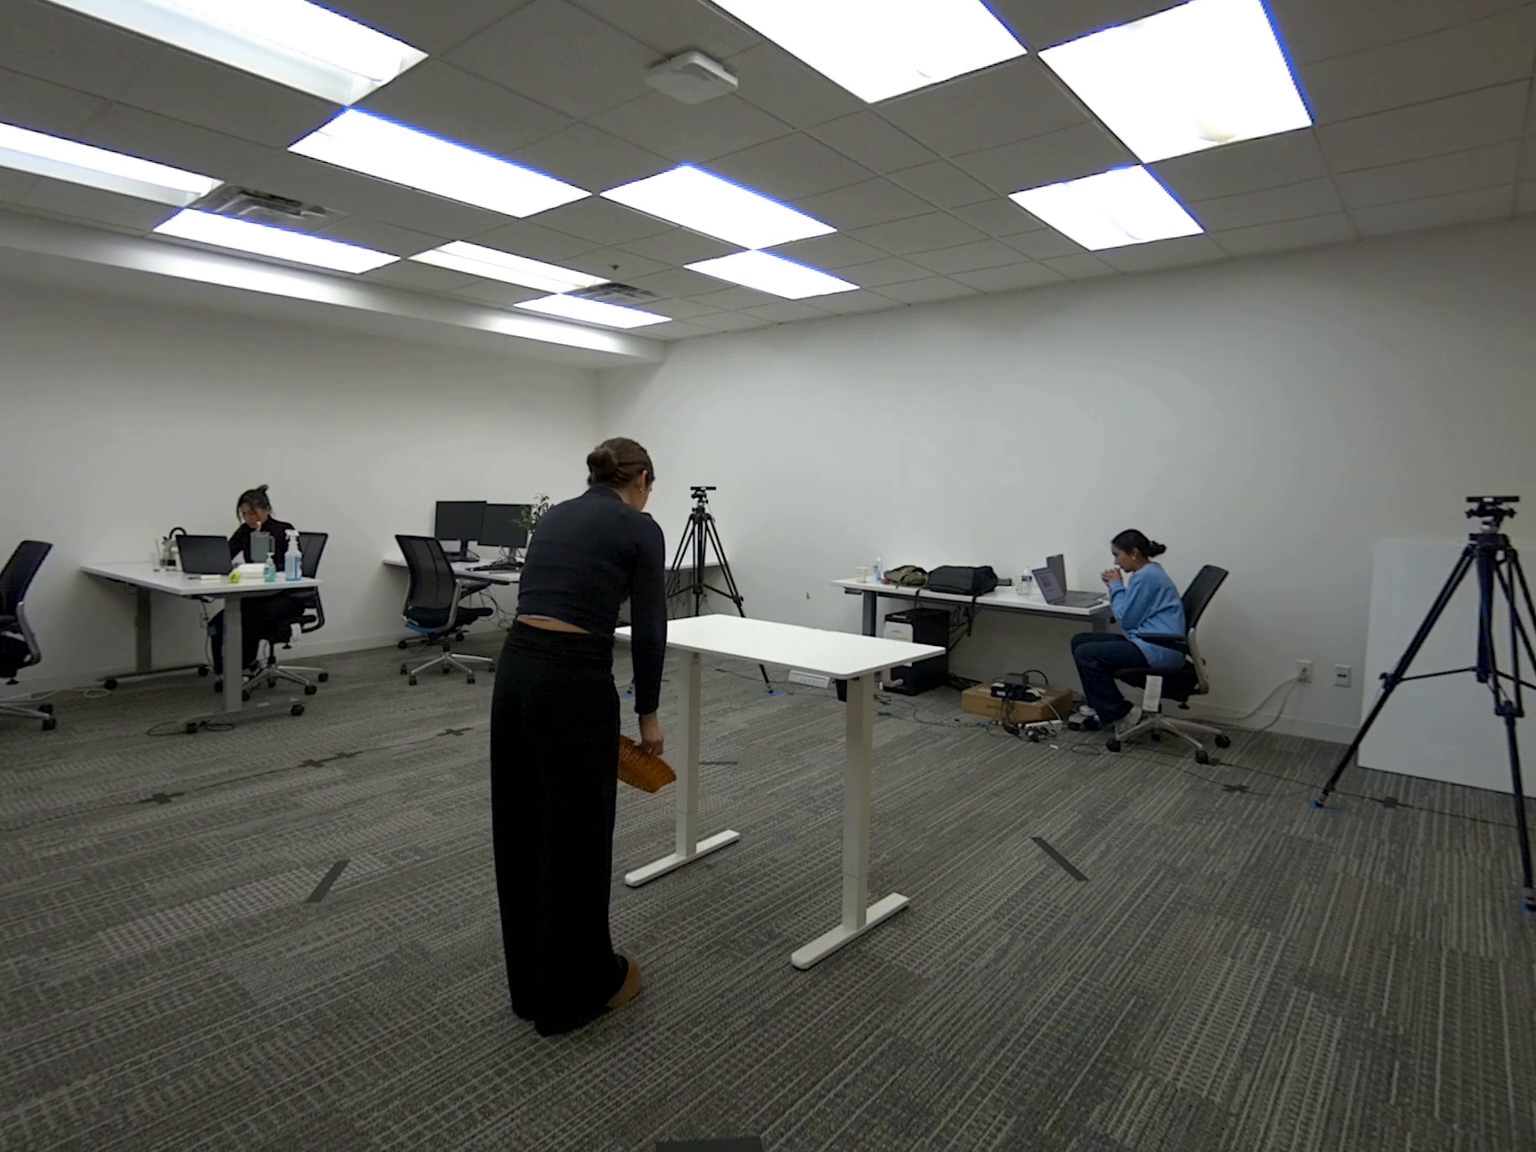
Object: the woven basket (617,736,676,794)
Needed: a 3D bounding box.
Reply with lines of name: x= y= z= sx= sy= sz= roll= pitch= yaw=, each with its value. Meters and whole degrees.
woven basket: x=-0.424 y=0.518 z=2.436 sx=0.363 sy=0.074 sz=0.242 roll=13 pitch=-35 yaw=35
